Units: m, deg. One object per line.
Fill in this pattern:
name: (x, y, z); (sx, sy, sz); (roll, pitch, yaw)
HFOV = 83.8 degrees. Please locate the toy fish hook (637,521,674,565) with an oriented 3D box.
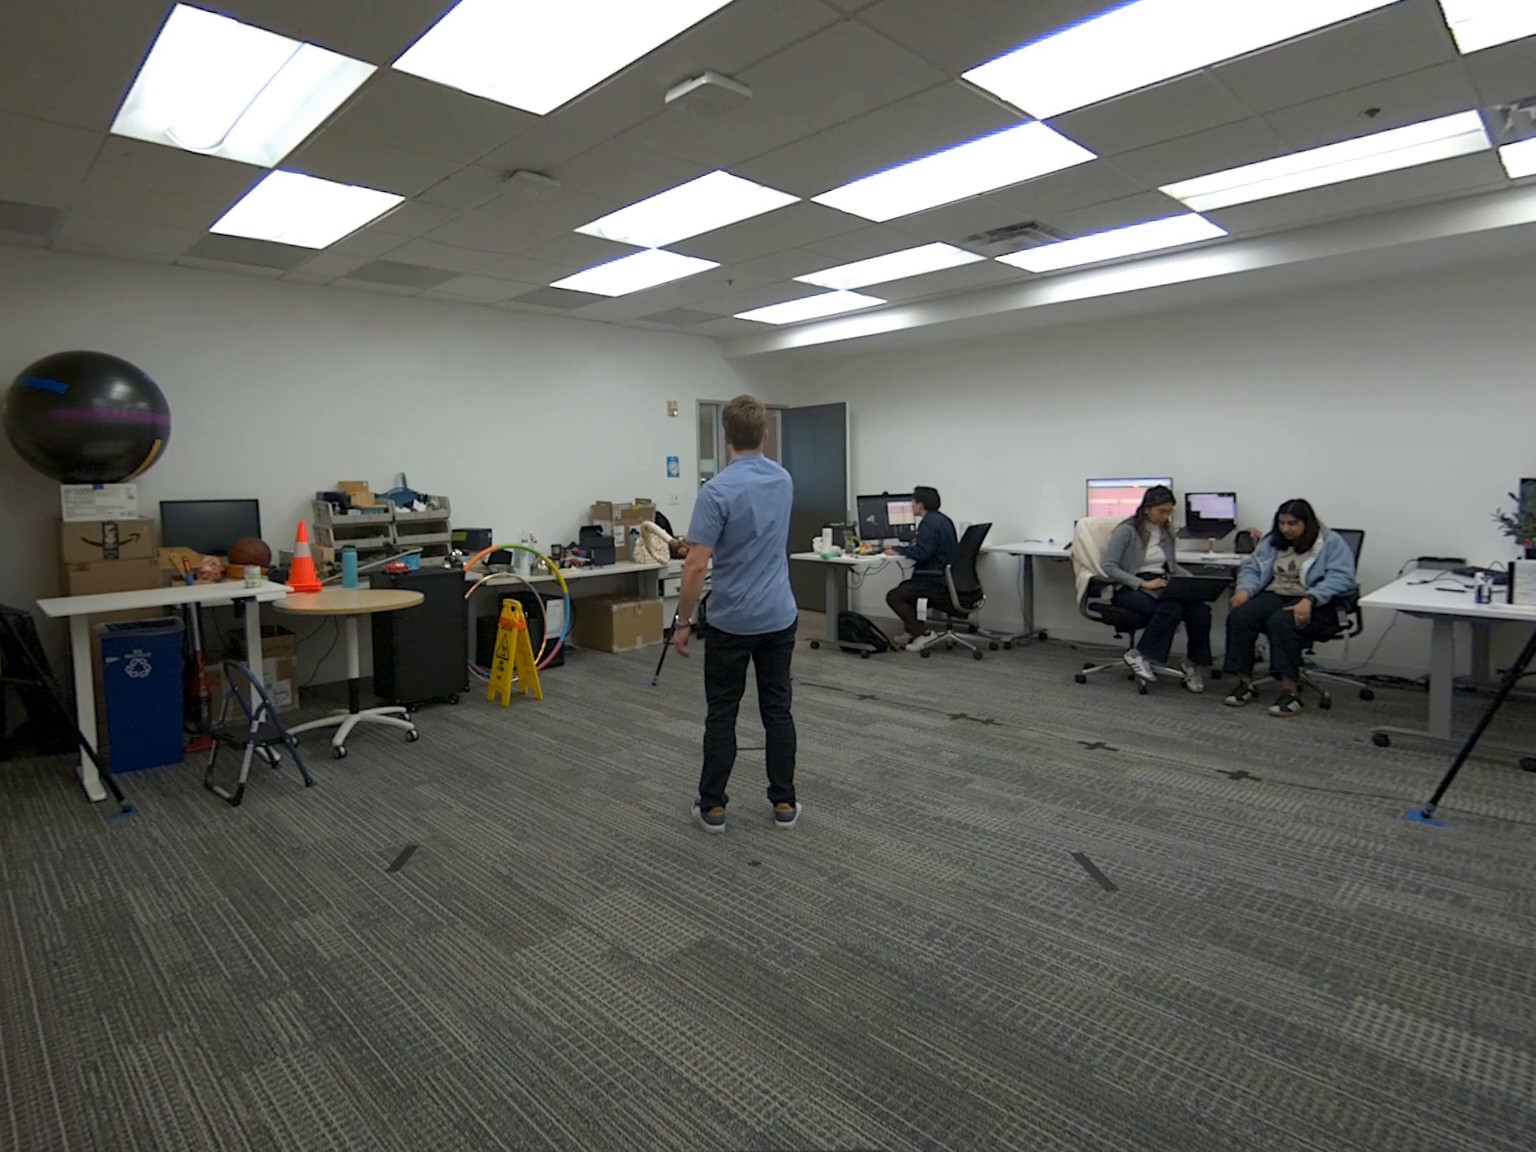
toy fish hook: (-0.459, -0.145, 4.060); (0.048, 0.219, 0.525); (-27, 28, -24)
